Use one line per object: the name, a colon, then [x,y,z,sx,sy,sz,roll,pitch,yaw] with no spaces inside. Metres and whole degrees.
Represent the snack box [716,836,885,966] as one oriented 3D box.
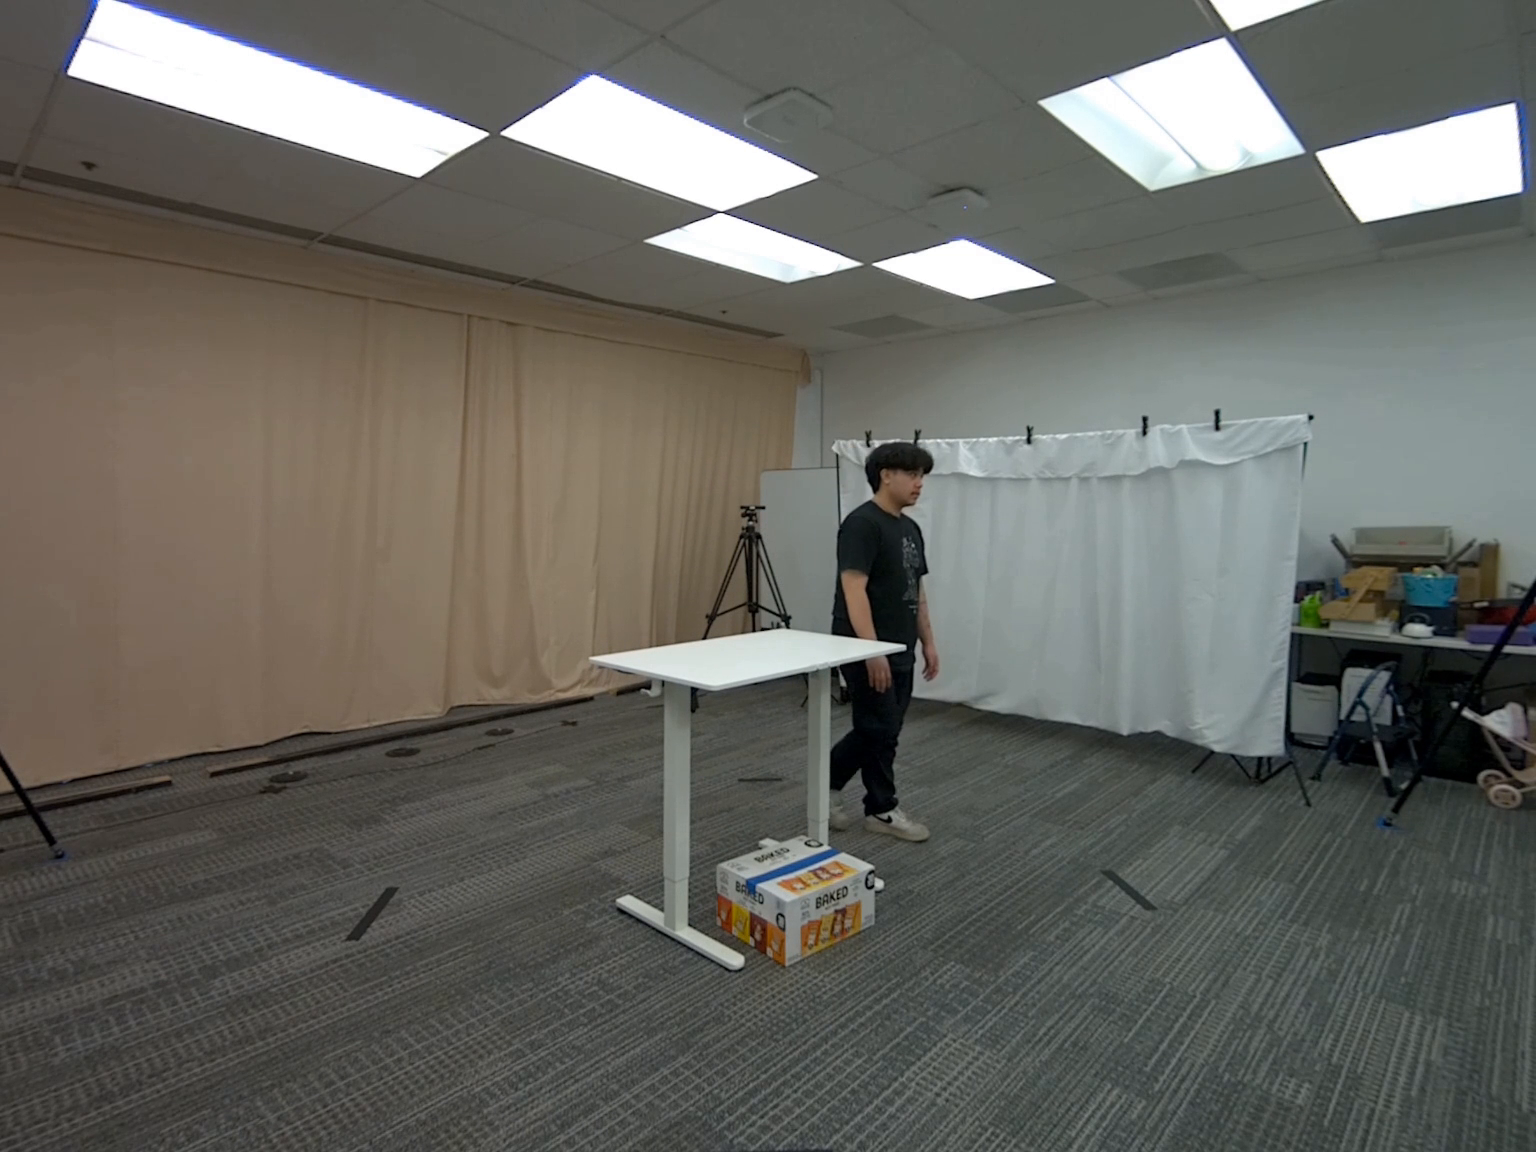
snack box: [0.093,1.061,2.786,0.393,0.205,0.351,-4,6,-41]
